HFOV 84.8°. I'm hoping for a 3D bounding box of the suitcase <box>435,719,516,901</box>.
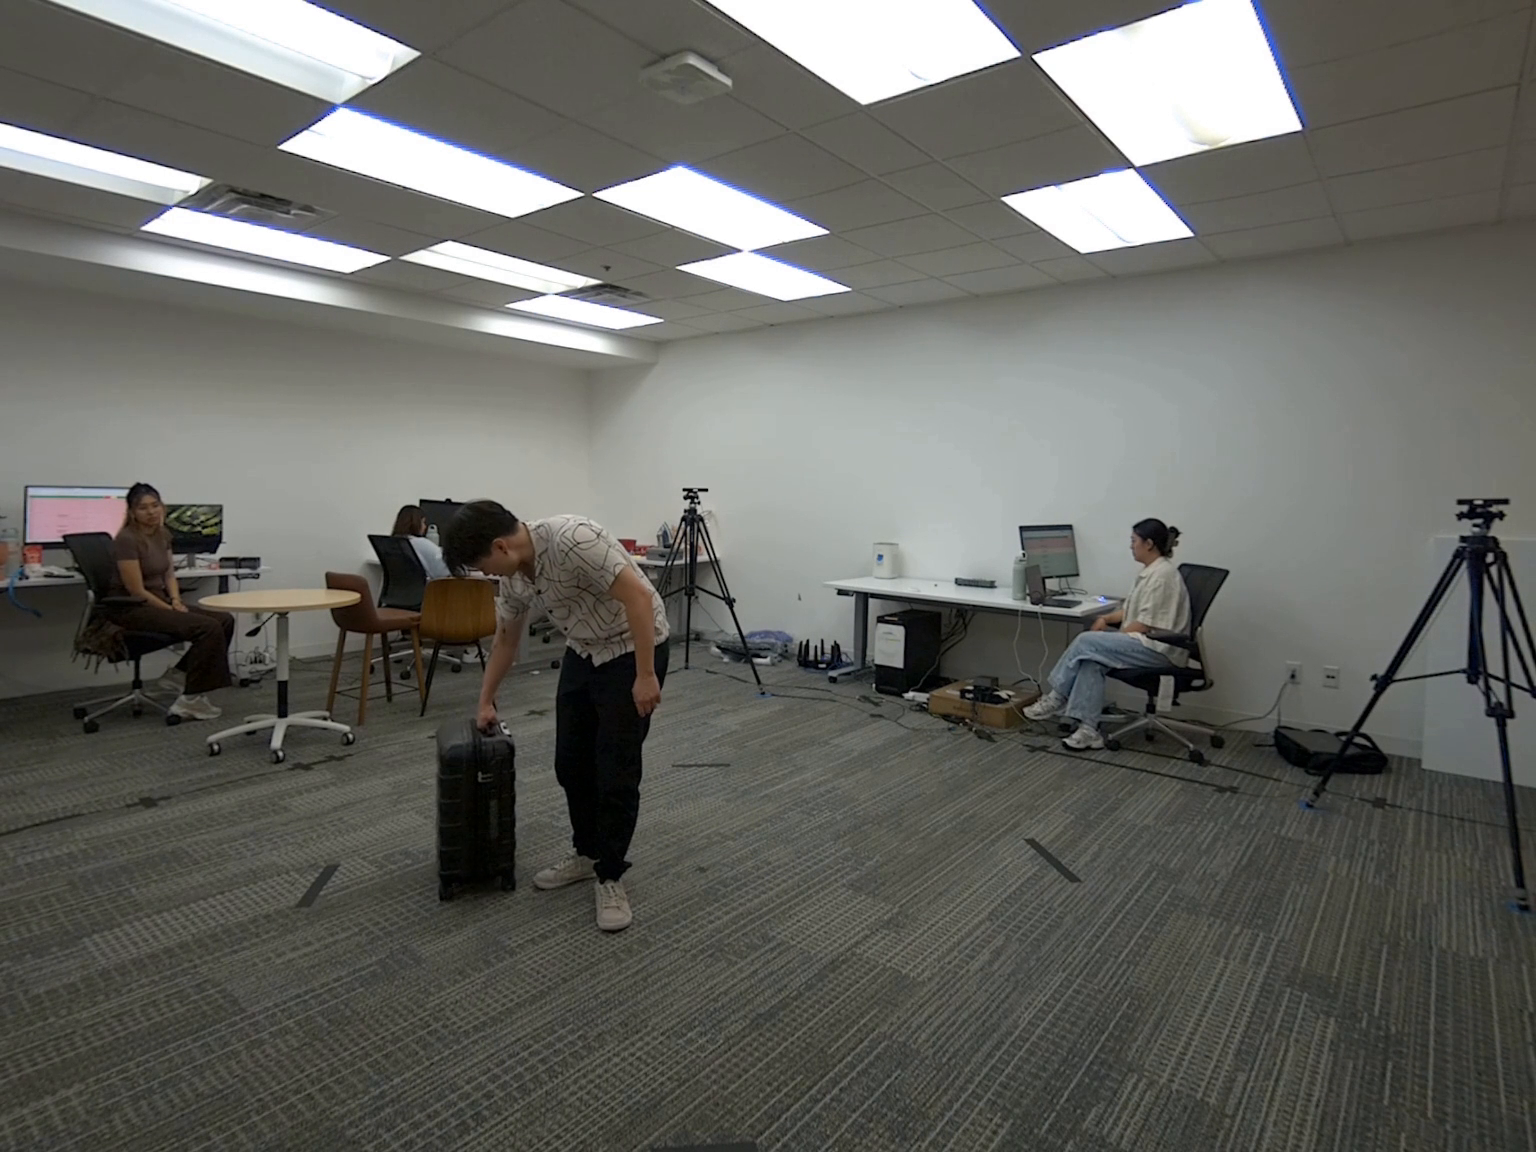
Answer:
[{"bbox_3d":[-1.039,0.793,2.992,0.243,0.547,0.385,-1,5,-23],"label":"suitcase"}]
